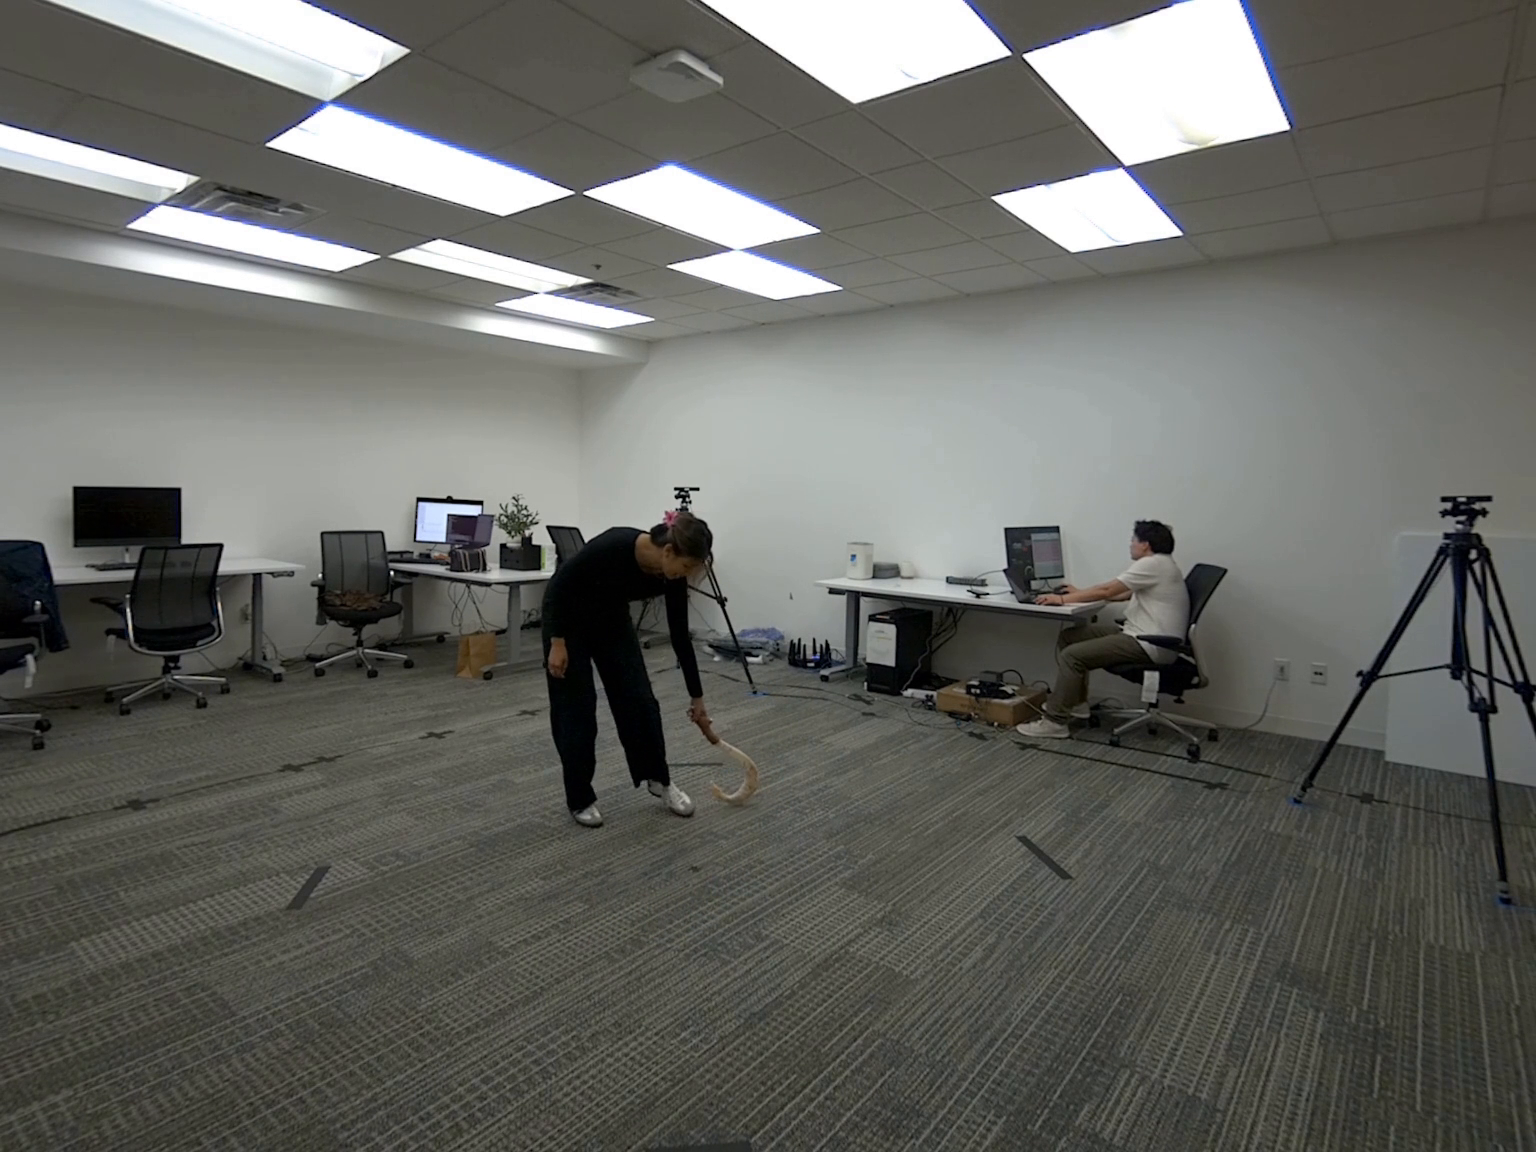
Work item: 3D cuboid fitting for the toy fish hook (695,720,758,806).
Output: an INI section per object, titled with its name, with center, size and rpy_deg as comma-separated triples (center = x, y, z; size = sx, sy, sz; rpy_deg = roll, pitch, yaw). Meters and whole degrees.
[toy fish hook]
center = -0.239, 0.792, 3.691
size = 0.224, 0.496, 0.049
rpy_deg = -45, 16, -20
